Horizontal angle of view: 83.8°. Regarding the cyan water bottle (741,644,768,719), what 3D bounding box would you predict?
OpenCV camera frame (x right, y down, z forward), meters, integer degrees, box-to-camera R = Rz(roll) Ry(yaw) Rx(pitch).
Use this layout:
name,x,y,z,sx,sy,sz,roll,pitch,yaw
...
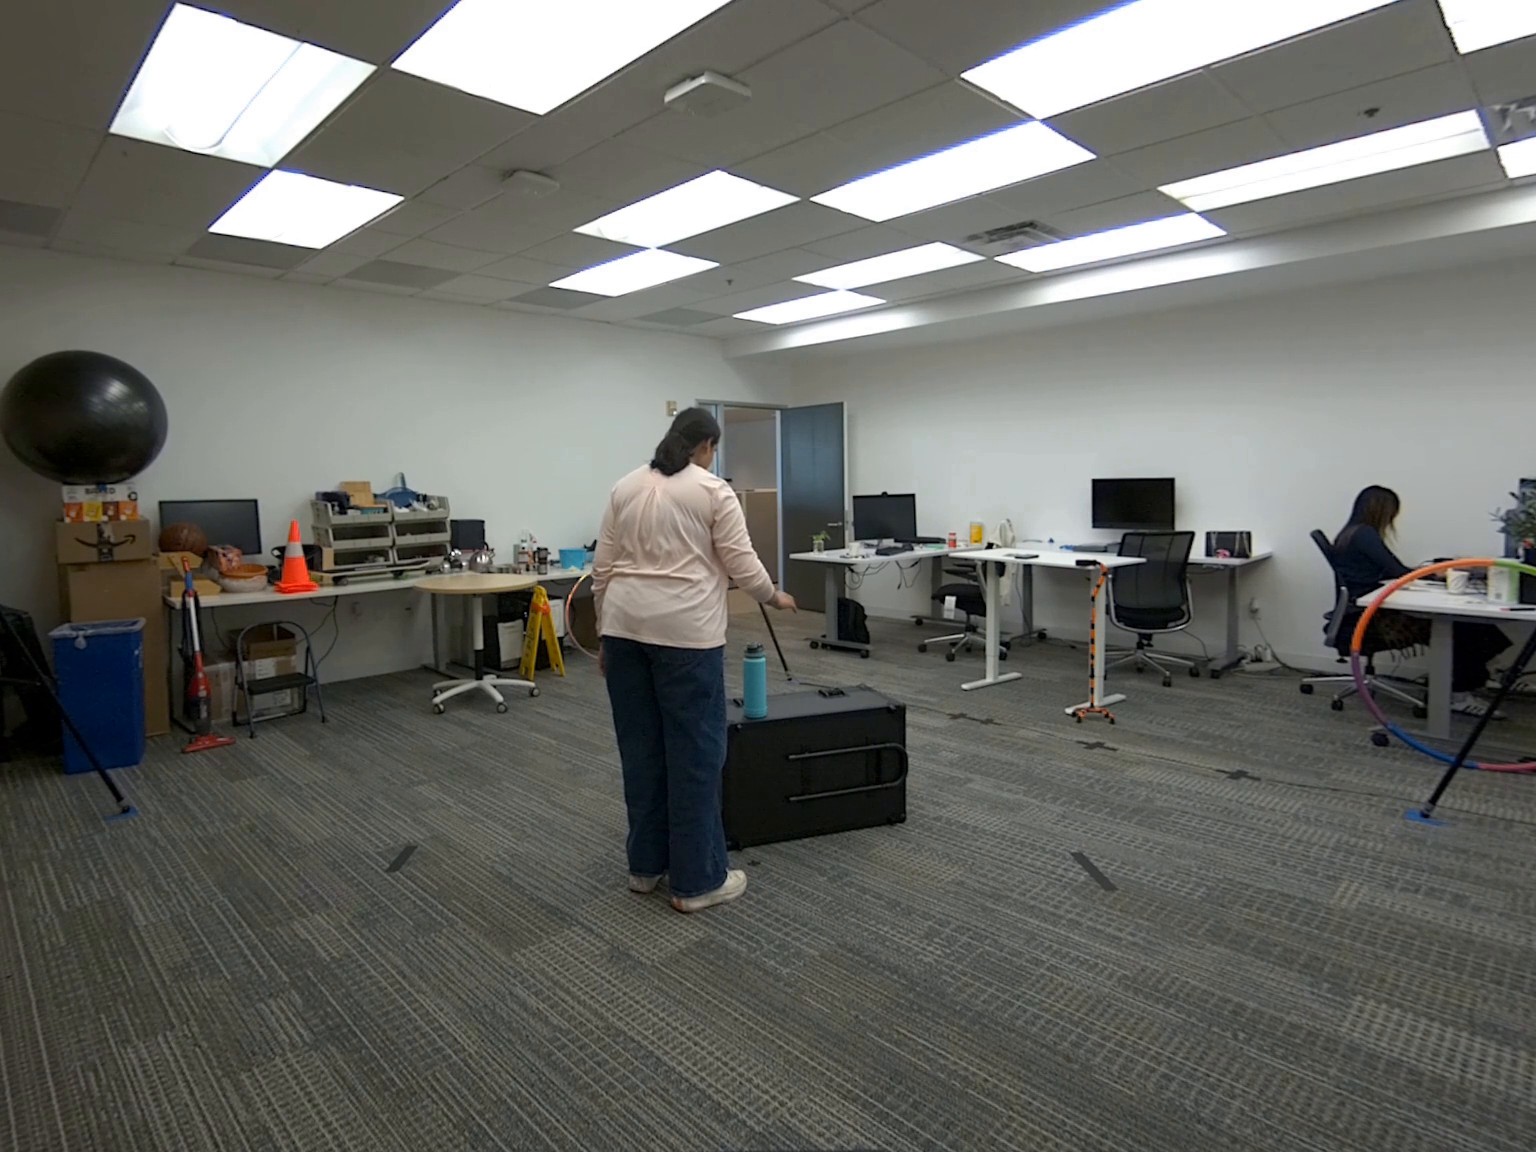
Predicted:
name,x,y,z,sx,sy,sz,roll,pitch,yaw
cyan water bottle,-0.048,0.396,3.318,0.092,0.283,0.092,-1,1,-2
